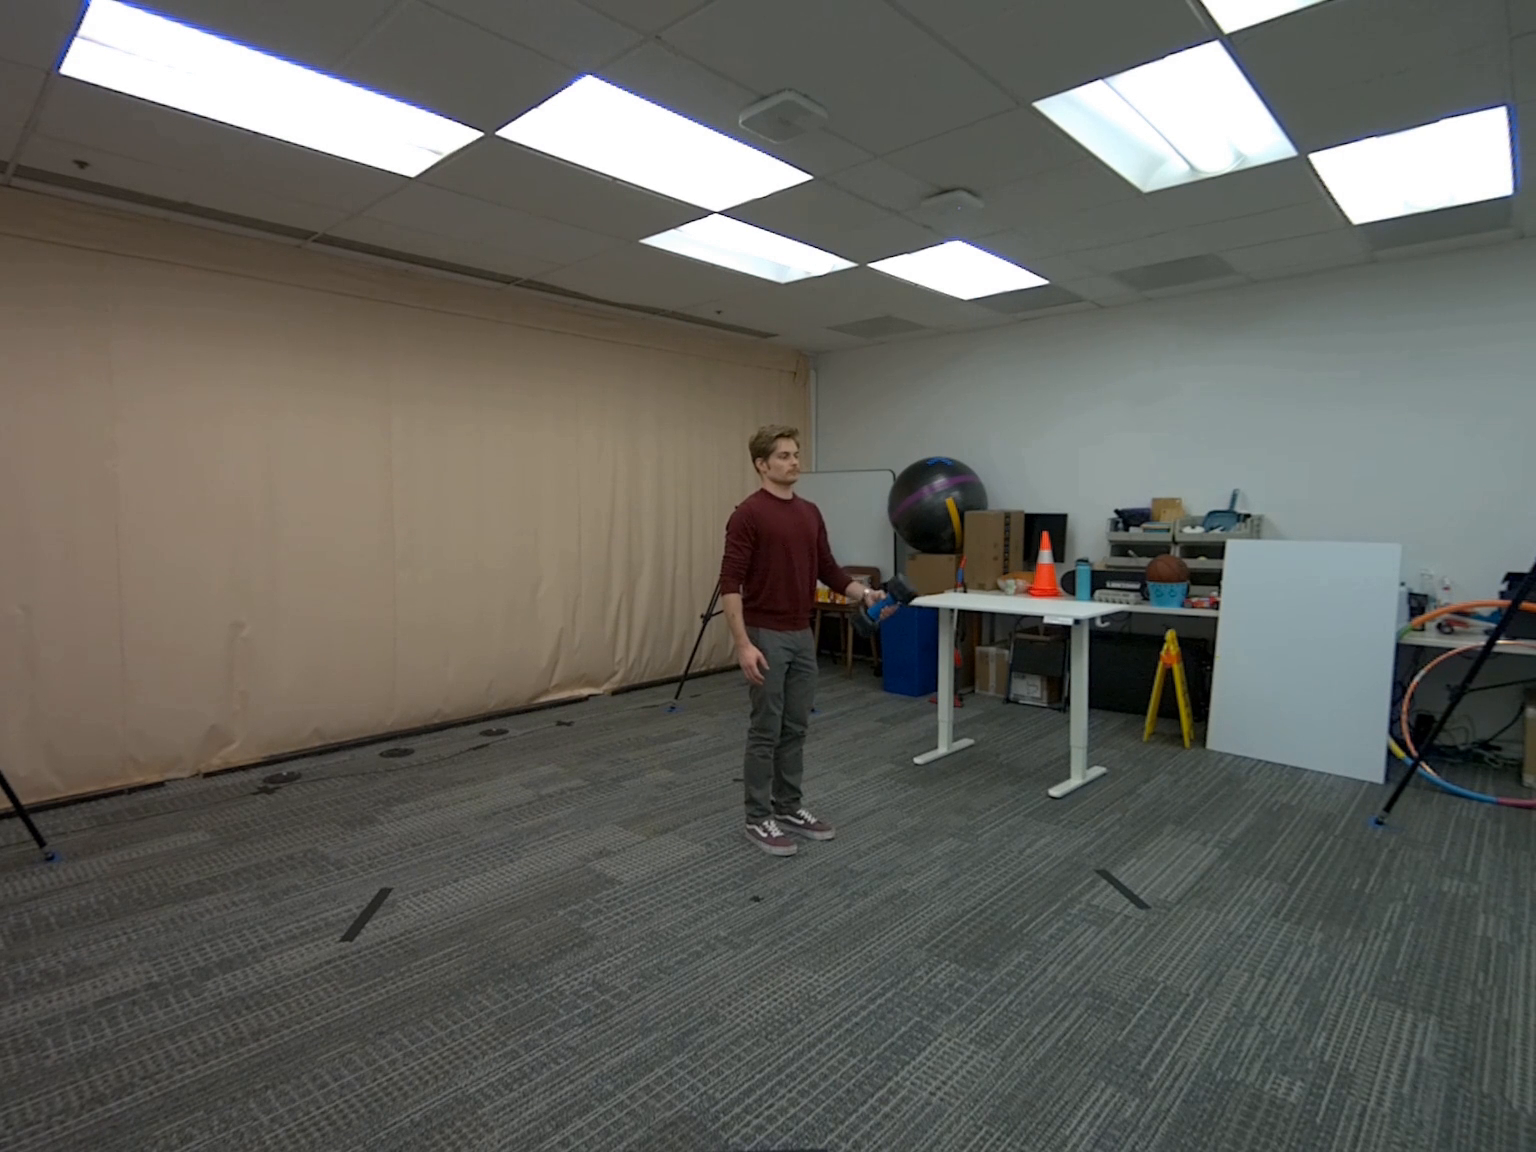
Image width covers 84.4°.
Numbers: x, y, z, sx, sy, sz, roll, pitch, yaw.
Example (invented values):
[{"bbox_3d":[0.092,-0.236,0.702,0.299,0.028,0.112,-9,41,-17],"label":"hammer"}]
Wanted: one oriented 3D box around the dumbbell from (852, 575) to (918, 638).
[{"bbox_3d":[0.480,0.090,3.433,0.296,0.125,0.106,-41,-14,20],"label":"dumbbell"}]
